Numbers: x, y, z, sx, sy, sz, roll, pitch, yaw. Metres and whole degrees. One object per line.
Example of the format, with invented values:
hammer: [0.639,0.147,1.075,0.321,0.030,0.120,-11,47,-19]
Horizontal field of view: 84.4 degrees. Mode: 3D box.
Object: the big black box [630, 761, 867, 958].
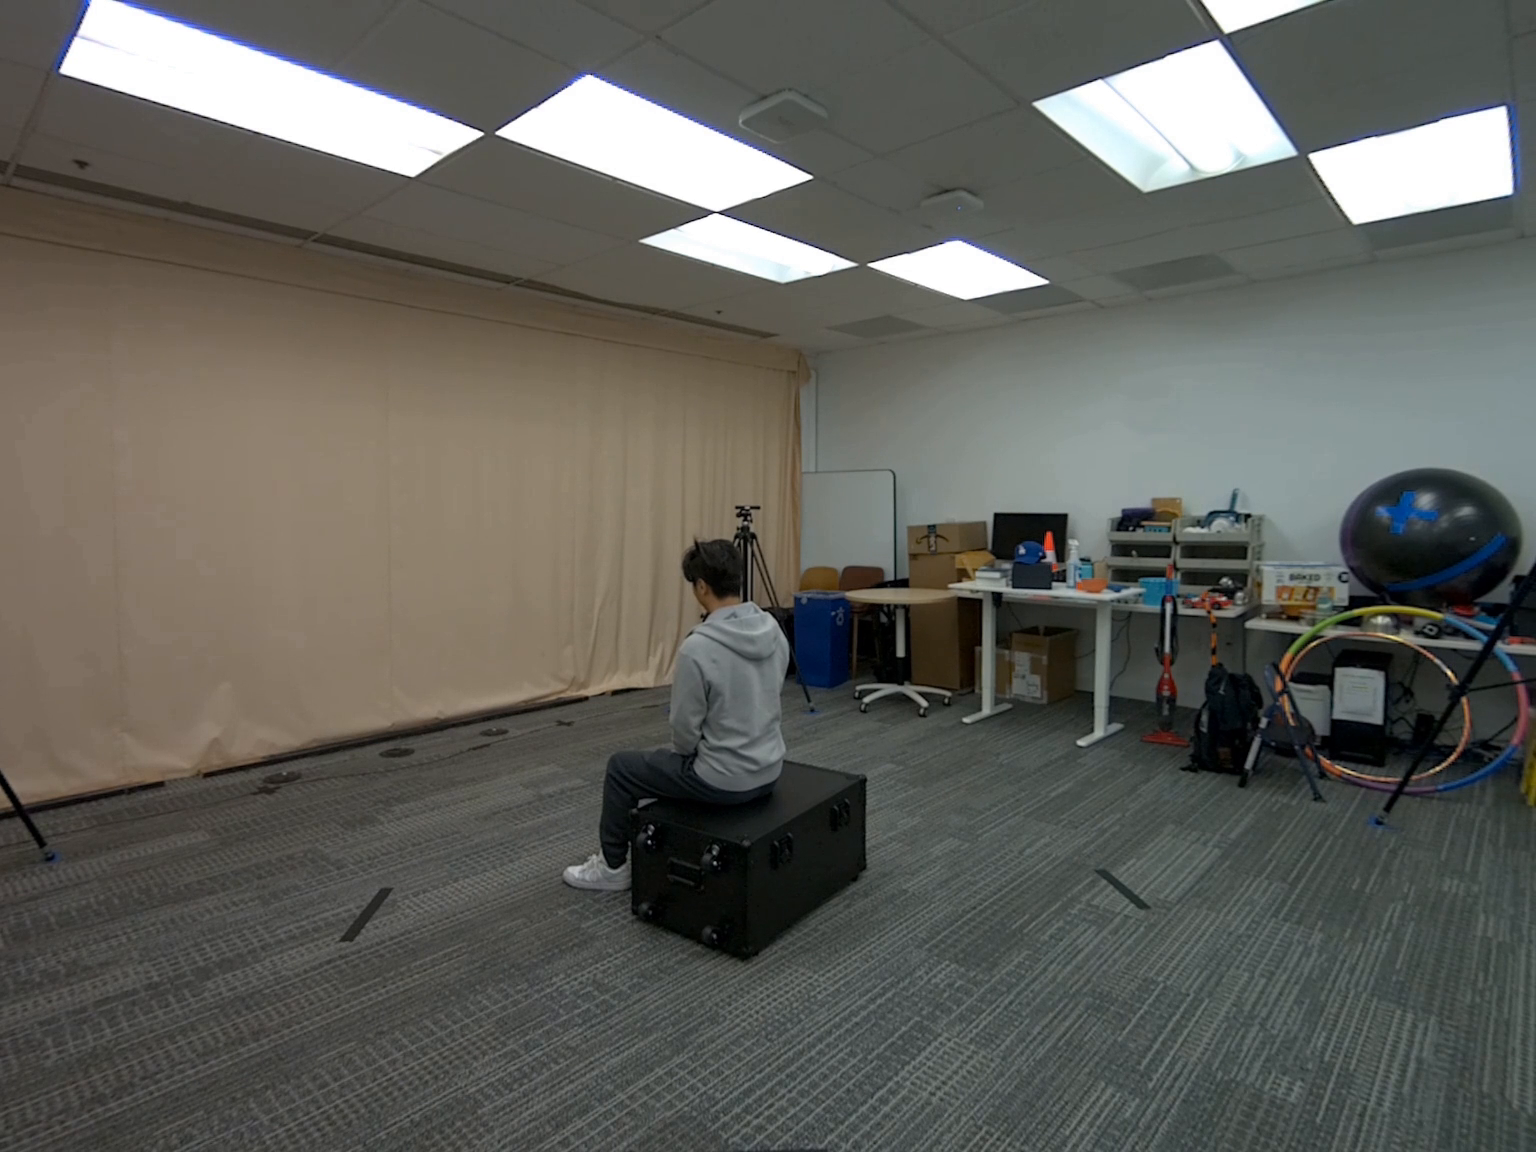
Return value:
big black box: [-0.019,0.957,3.010,0.538,0.395,0.837,3,6,36]
